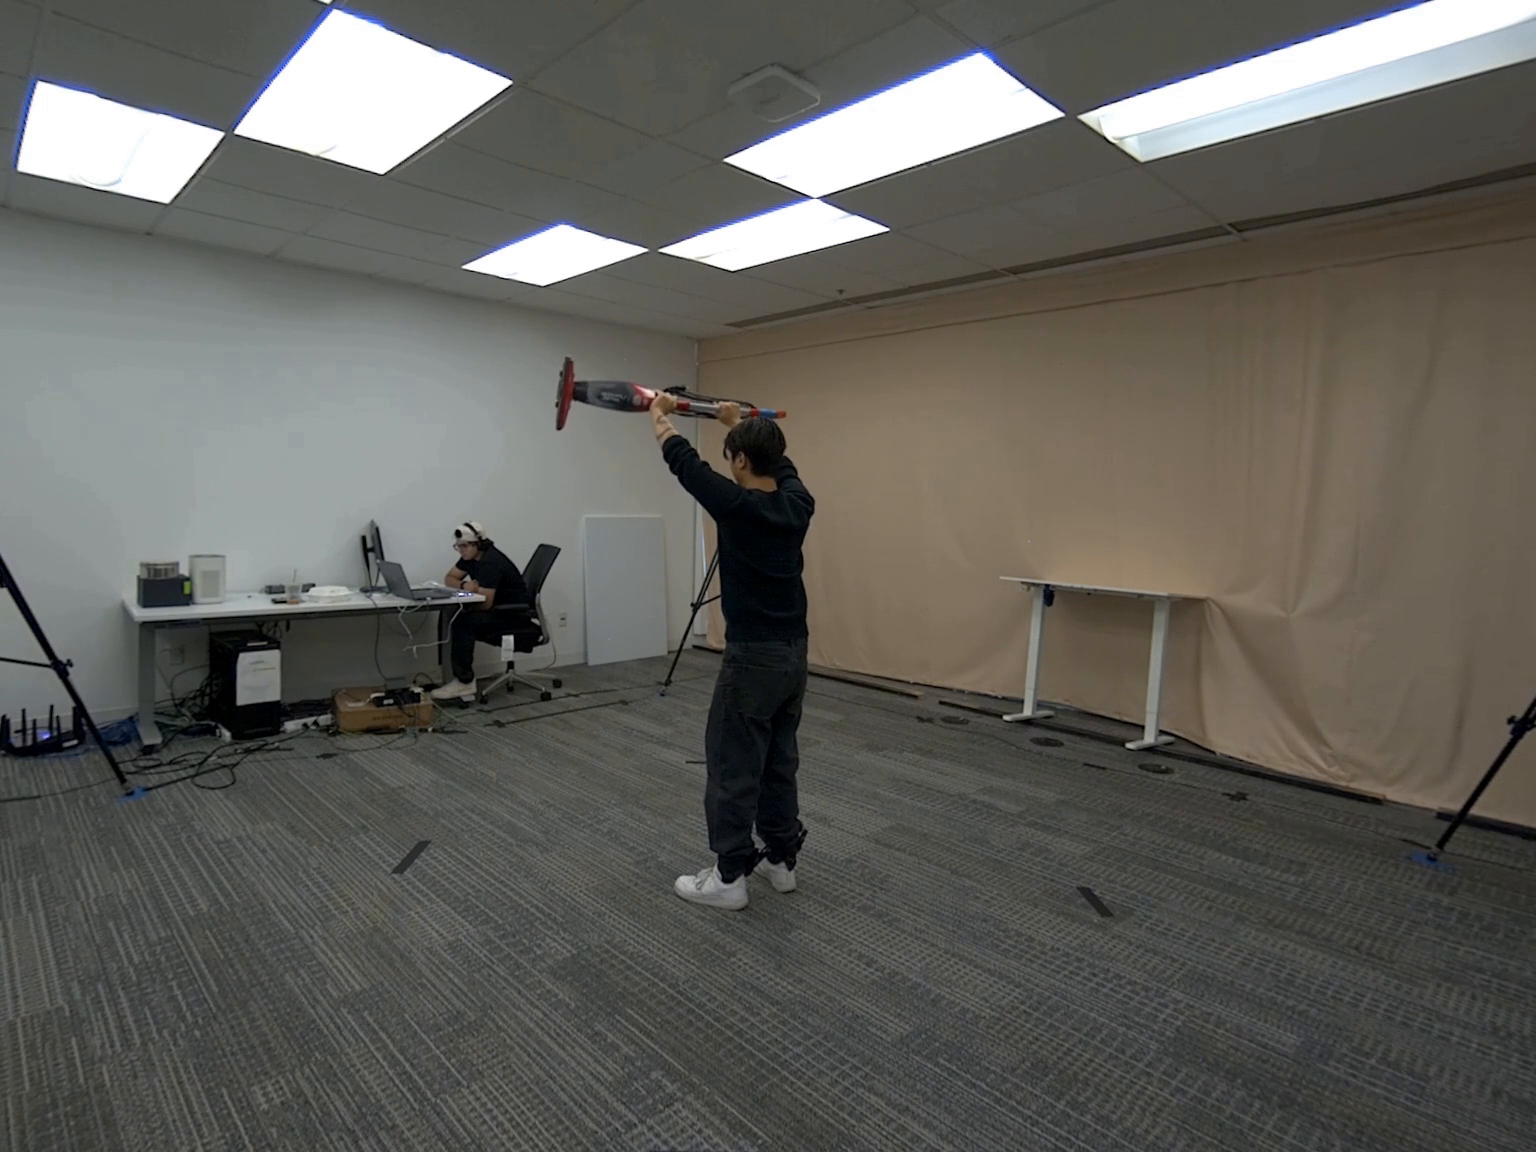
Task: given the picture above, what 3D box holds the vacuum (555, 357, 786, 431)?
[{"bbox_3d":[-0.334,-0.659,3.234,1.026,0.250,0.148,-3,24,-40],"label":"vacuum"}]
